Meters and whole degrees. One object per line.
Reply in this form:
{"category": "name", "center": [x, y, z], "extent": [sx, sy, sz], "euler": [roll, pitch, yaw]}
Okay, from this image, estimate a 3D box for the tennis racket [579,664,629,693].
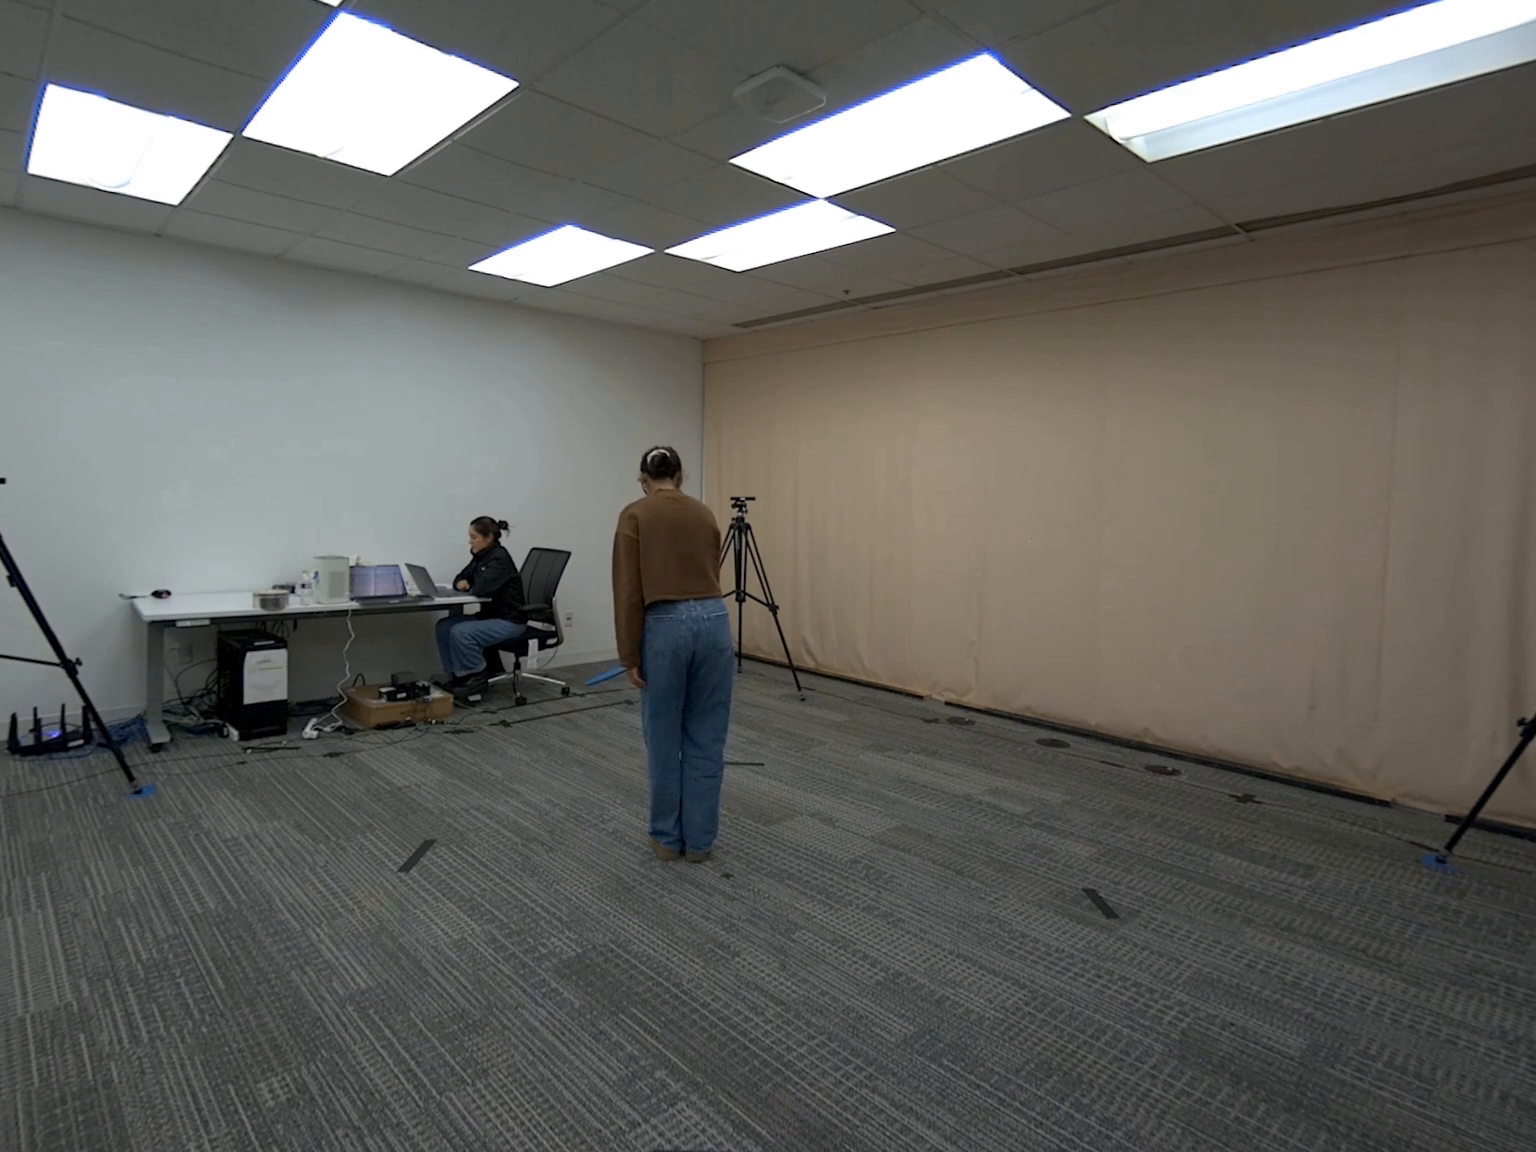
{"category": "tennis racket", "center": [-0.557, 0.376, 3.508], "extent": [0.432, 0.032, 0.214], "euler": [-19, 4, -2]}
